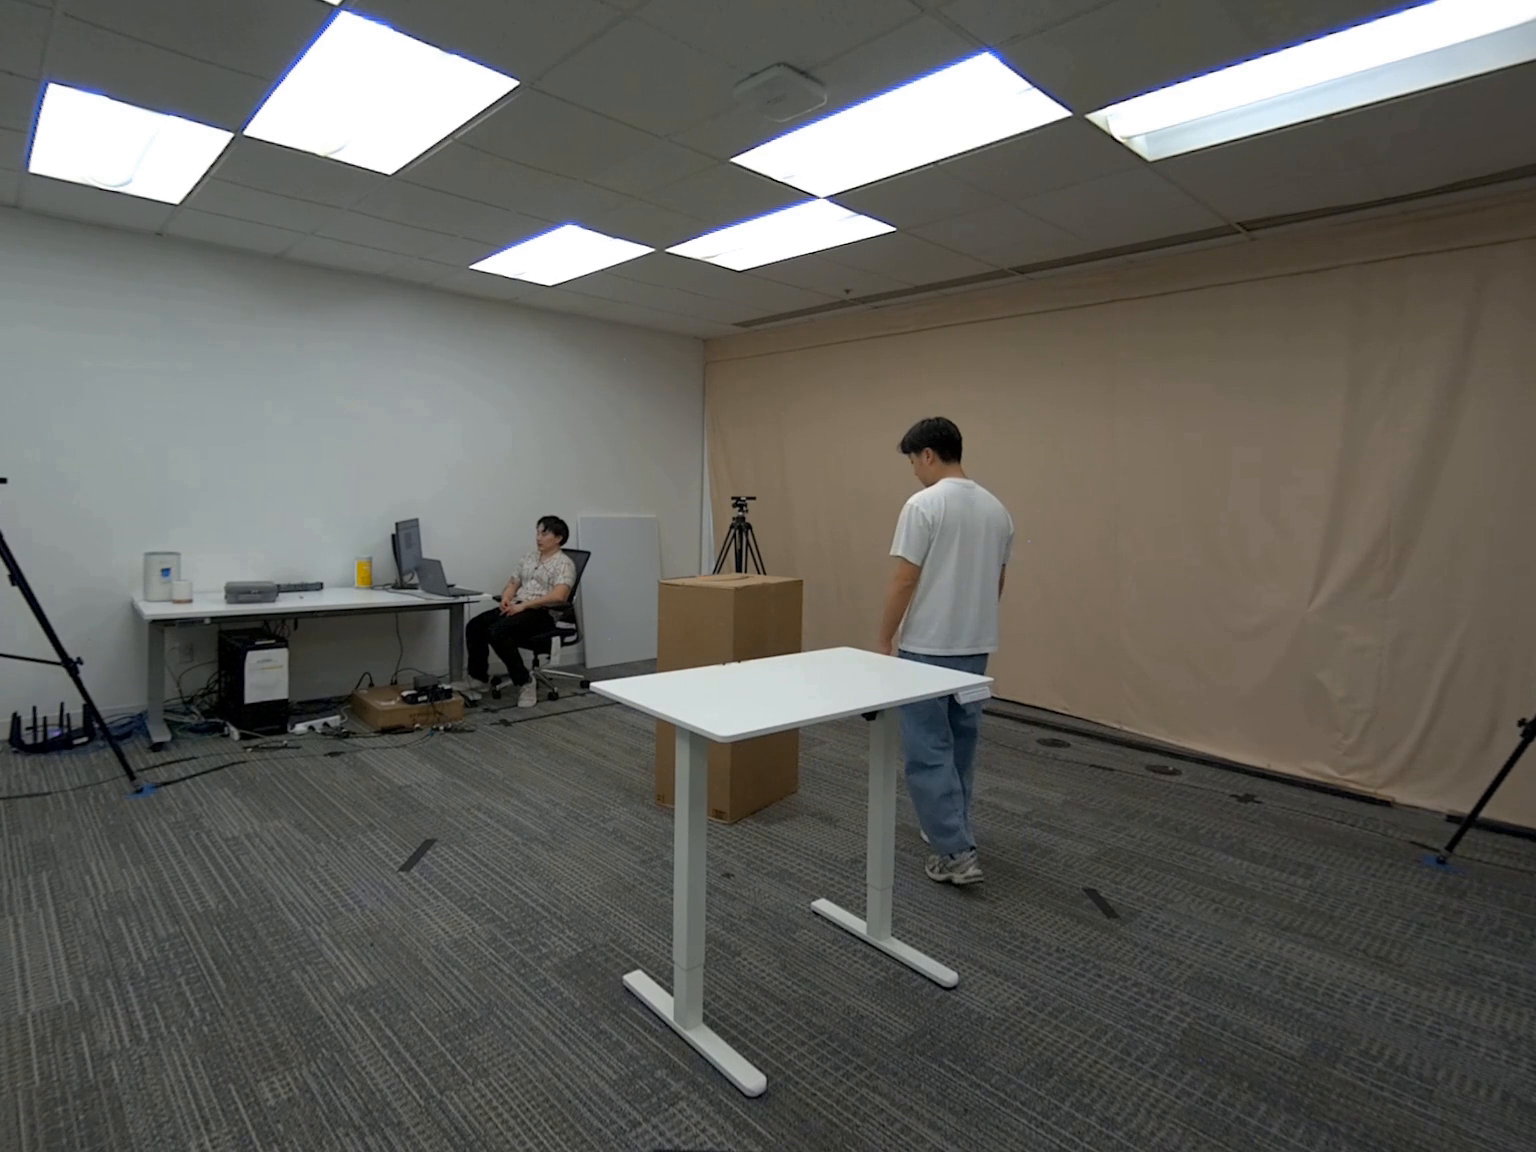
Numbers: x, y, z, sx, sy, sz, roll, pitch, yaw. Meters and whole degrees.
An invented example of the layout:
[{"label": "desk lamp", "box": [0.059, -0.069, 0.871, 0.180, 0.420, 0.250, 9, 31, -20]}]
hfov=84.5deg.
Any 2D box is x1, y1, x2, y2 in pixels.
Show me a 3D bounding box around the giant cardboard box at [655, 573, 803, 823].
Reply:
[{"label": "giant cardboard box", "box": [-0.182, 0.526, 3.918, 0.436, 1.023, 0.565, 4, 4, 35]}]
